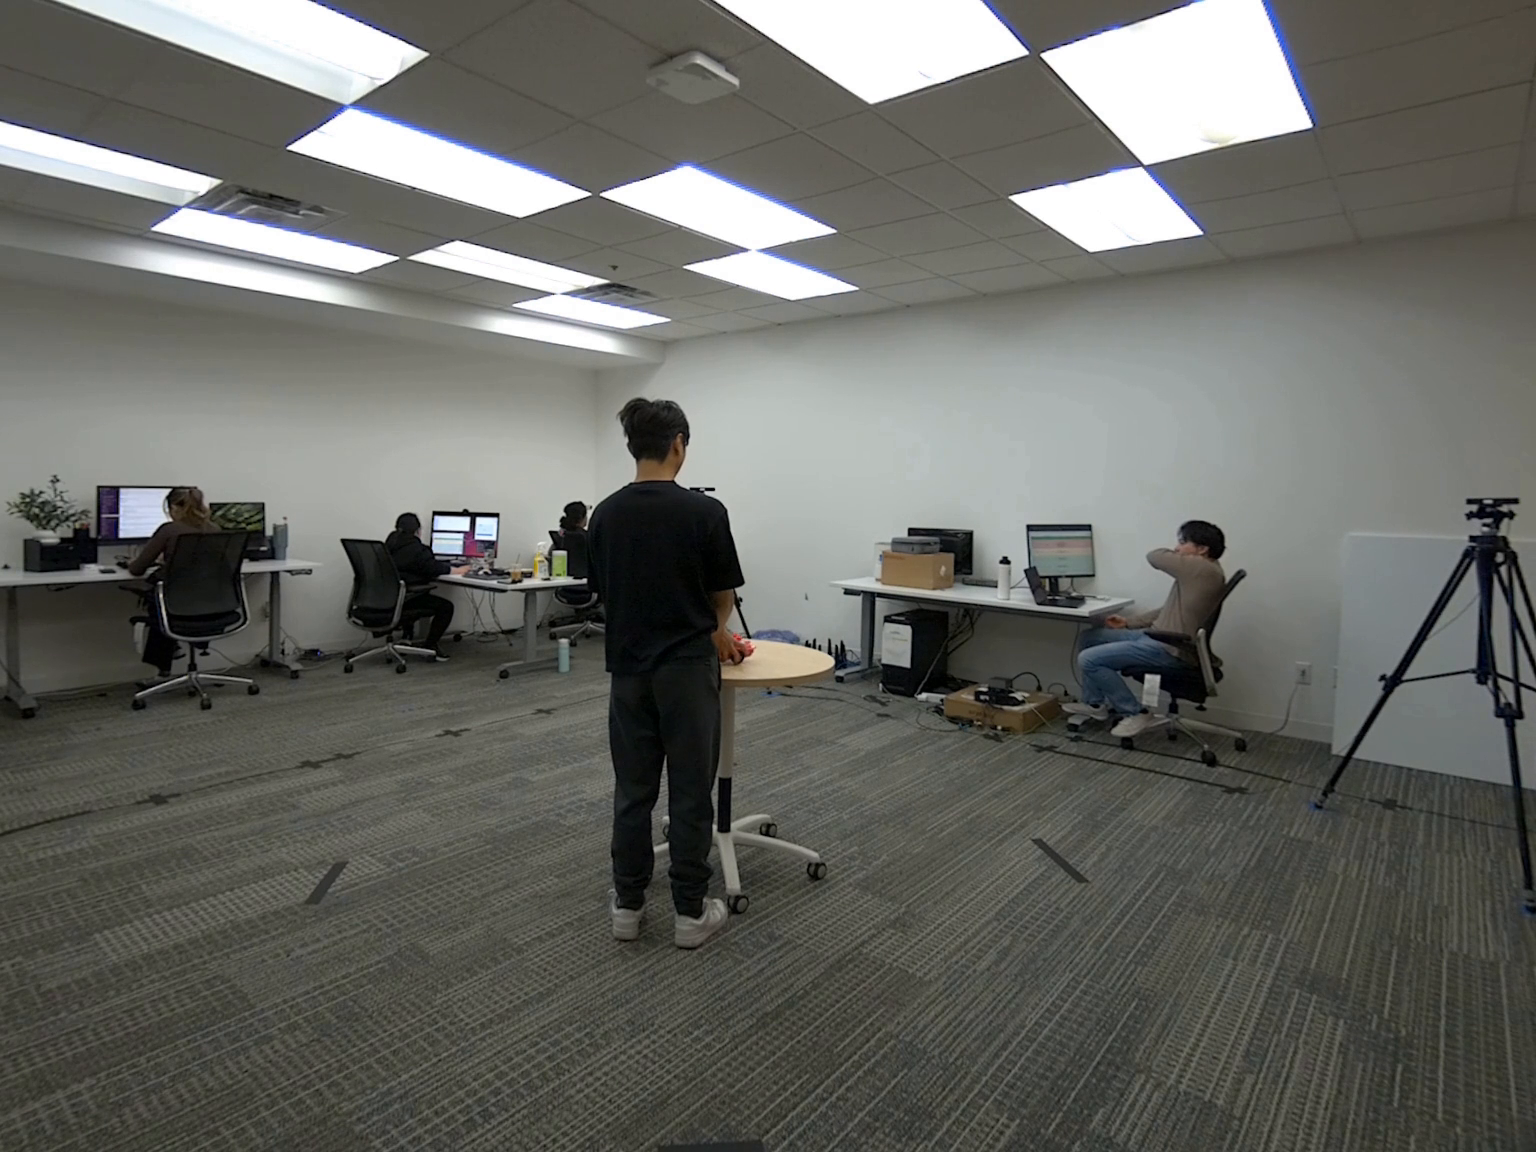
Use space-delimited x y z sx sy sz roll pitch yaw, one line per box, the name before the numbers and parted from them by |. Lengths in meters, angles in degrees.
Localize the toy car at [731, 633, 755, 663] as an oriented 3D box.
toy car | -0.180 0.253 2.961 0.251 0.082 0.134 -8 15 -17
